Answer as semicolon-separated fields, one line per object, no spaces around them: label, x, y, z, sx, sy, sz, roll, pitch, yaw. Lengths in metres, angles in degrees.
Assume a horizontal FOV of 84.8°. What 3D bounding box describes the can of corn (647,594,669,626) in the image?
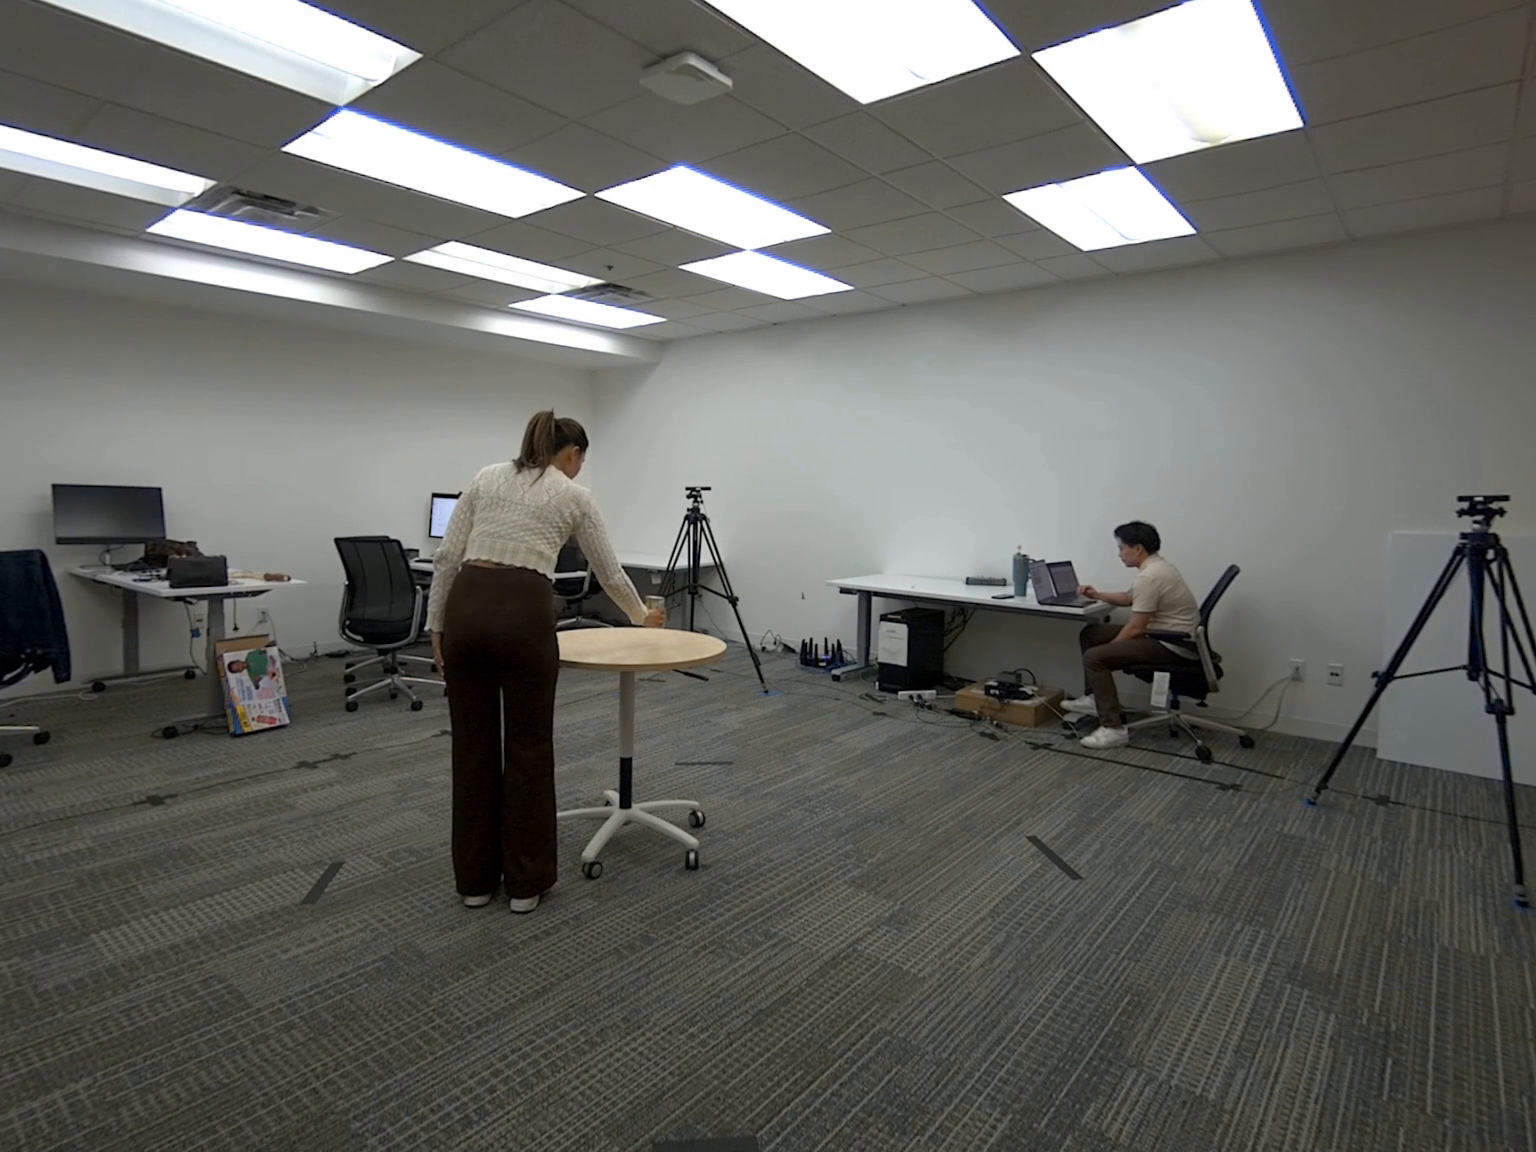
can of corn;-0.438;0.131;3.308;0.074;0.111;0.074;5;2;-2
